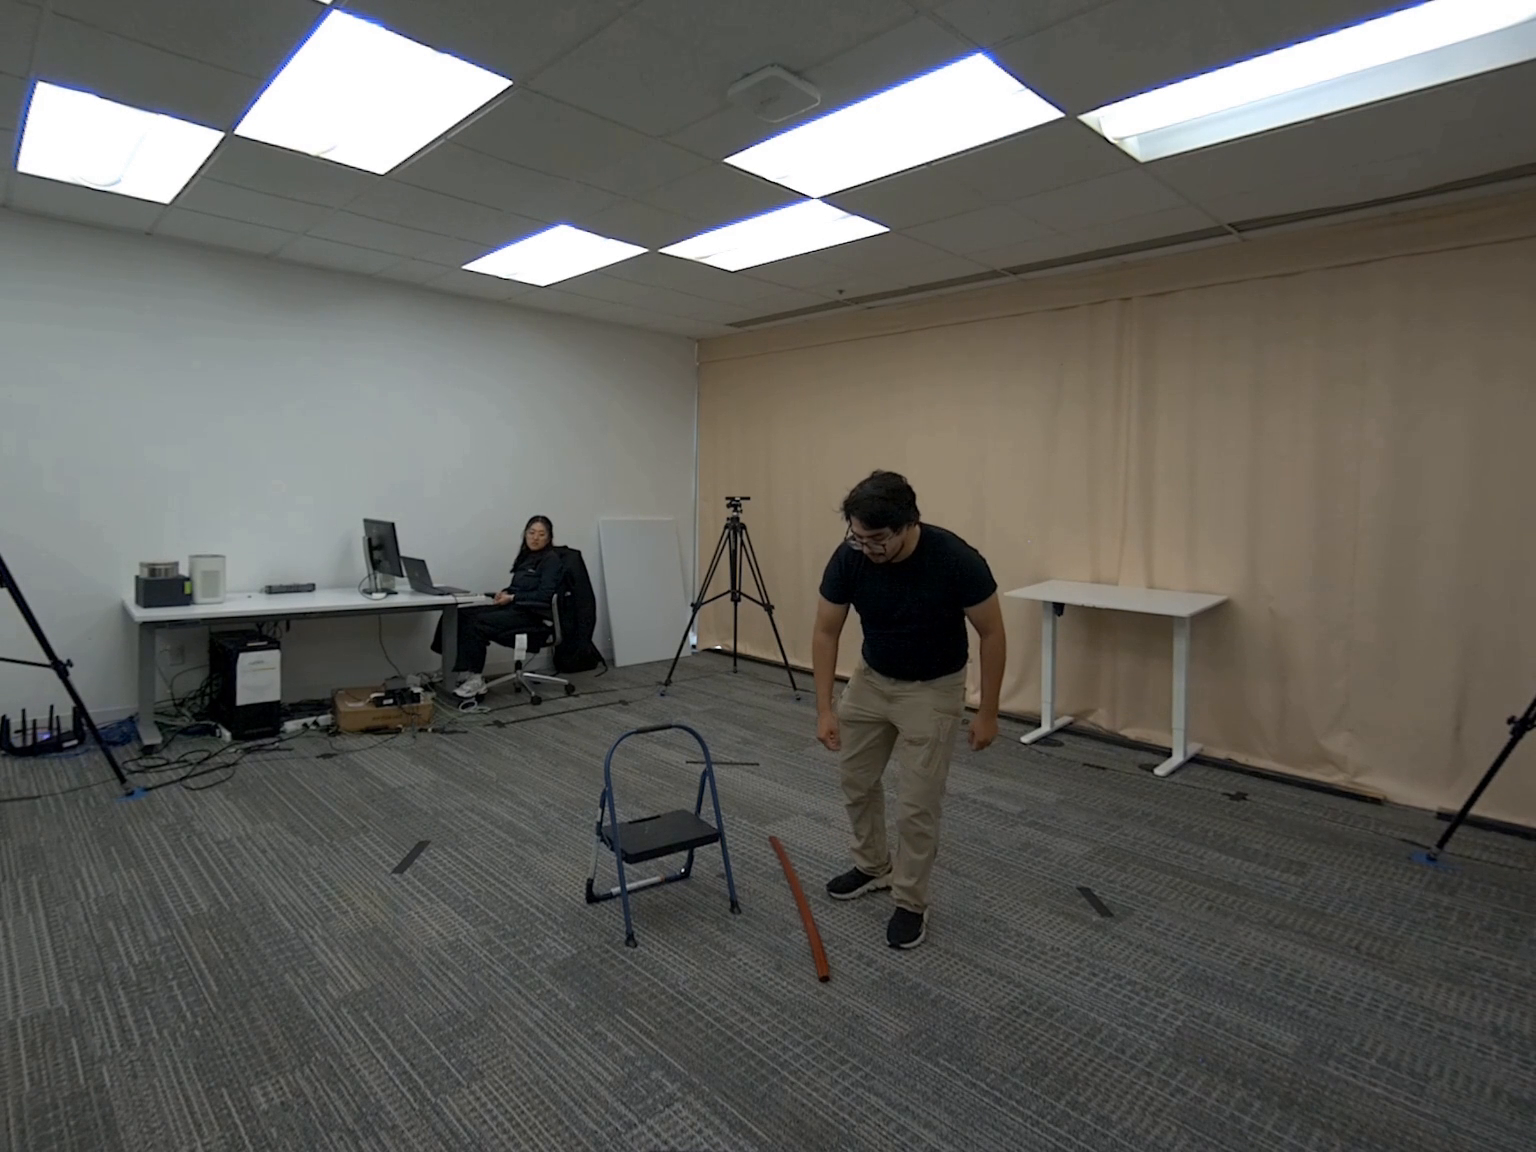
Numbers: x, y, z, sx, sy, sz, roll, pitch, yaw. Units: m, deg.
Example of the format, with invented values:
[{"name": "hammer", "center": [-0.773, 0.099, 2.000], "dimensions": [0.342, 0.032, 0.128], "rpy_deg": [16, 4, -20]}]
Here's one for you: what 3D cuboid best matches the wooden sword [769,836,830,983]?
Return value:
[{"name": "wooden sword", "center": [0.092, 1.107, 2.942], "dimensions": [0.051, 0.024, 1.033], "rpy_deg": [5, 4, -8]}]
